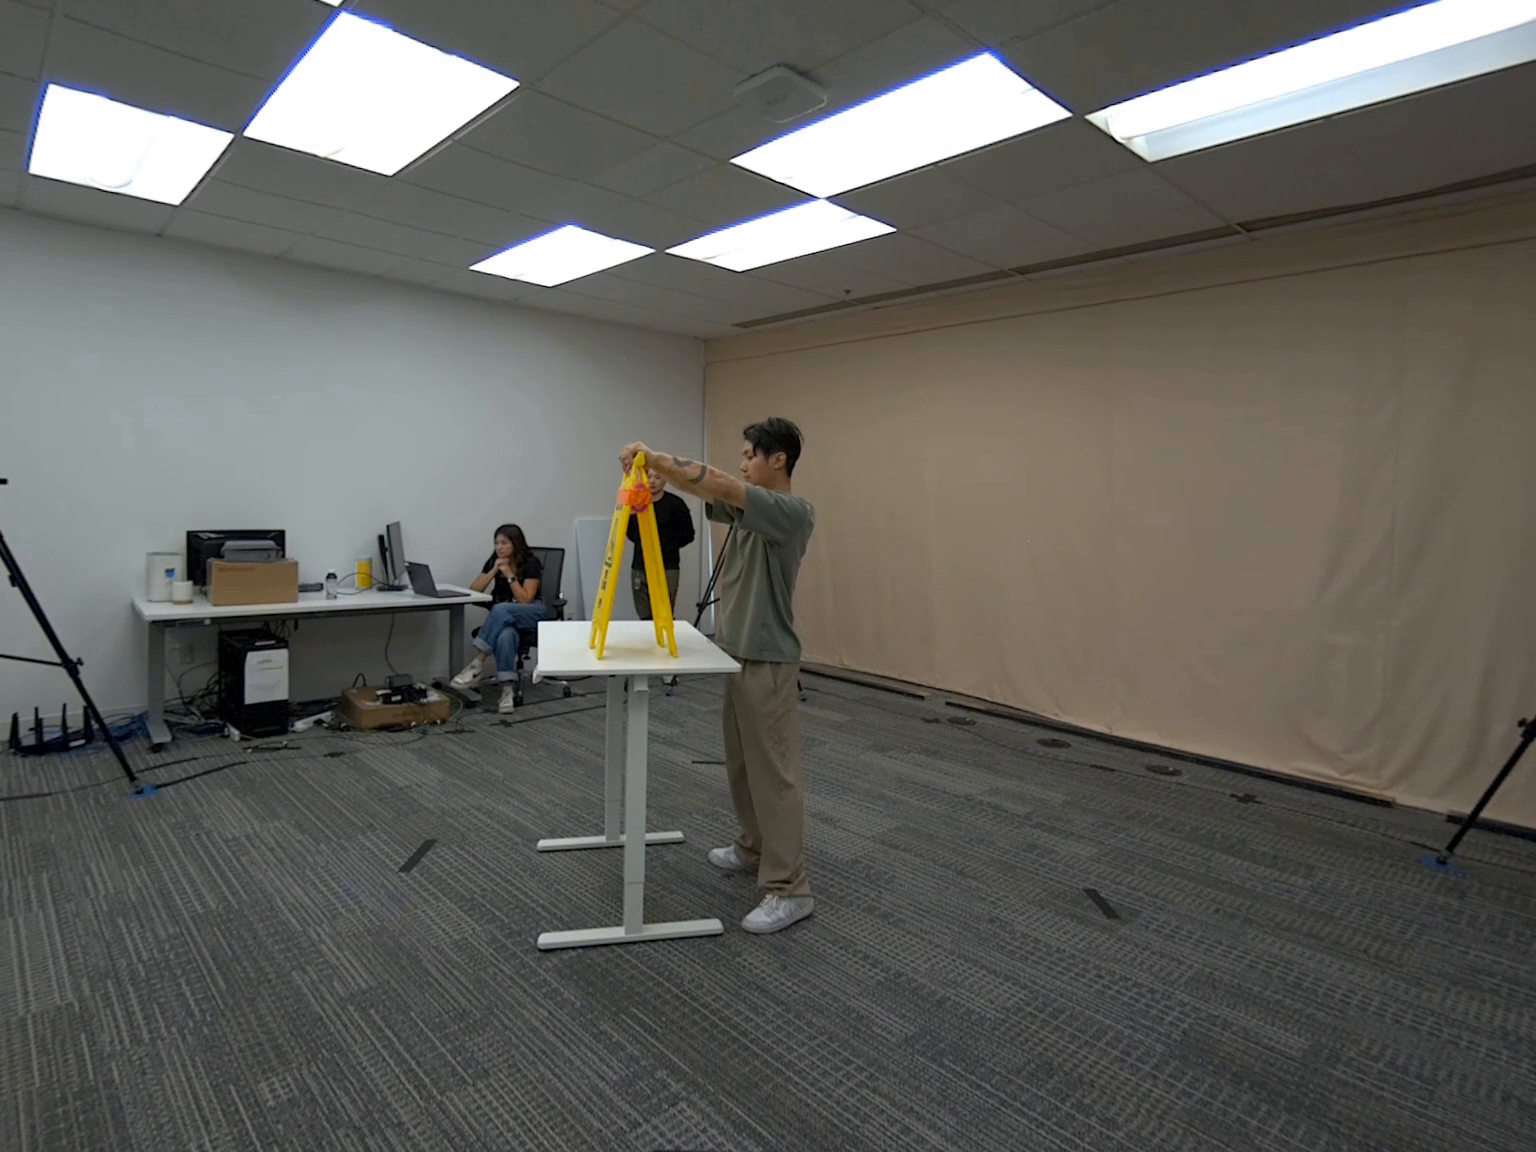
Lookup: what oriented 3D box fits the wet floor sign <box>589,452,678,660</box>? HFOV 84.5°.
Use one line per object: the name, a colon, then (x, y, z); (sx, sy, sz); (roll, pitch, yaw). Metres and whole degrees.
wet floor sign: (-0.448, -0.074, 2.737); (0.286, 0.645, 0.286); (0, 2, -17)
